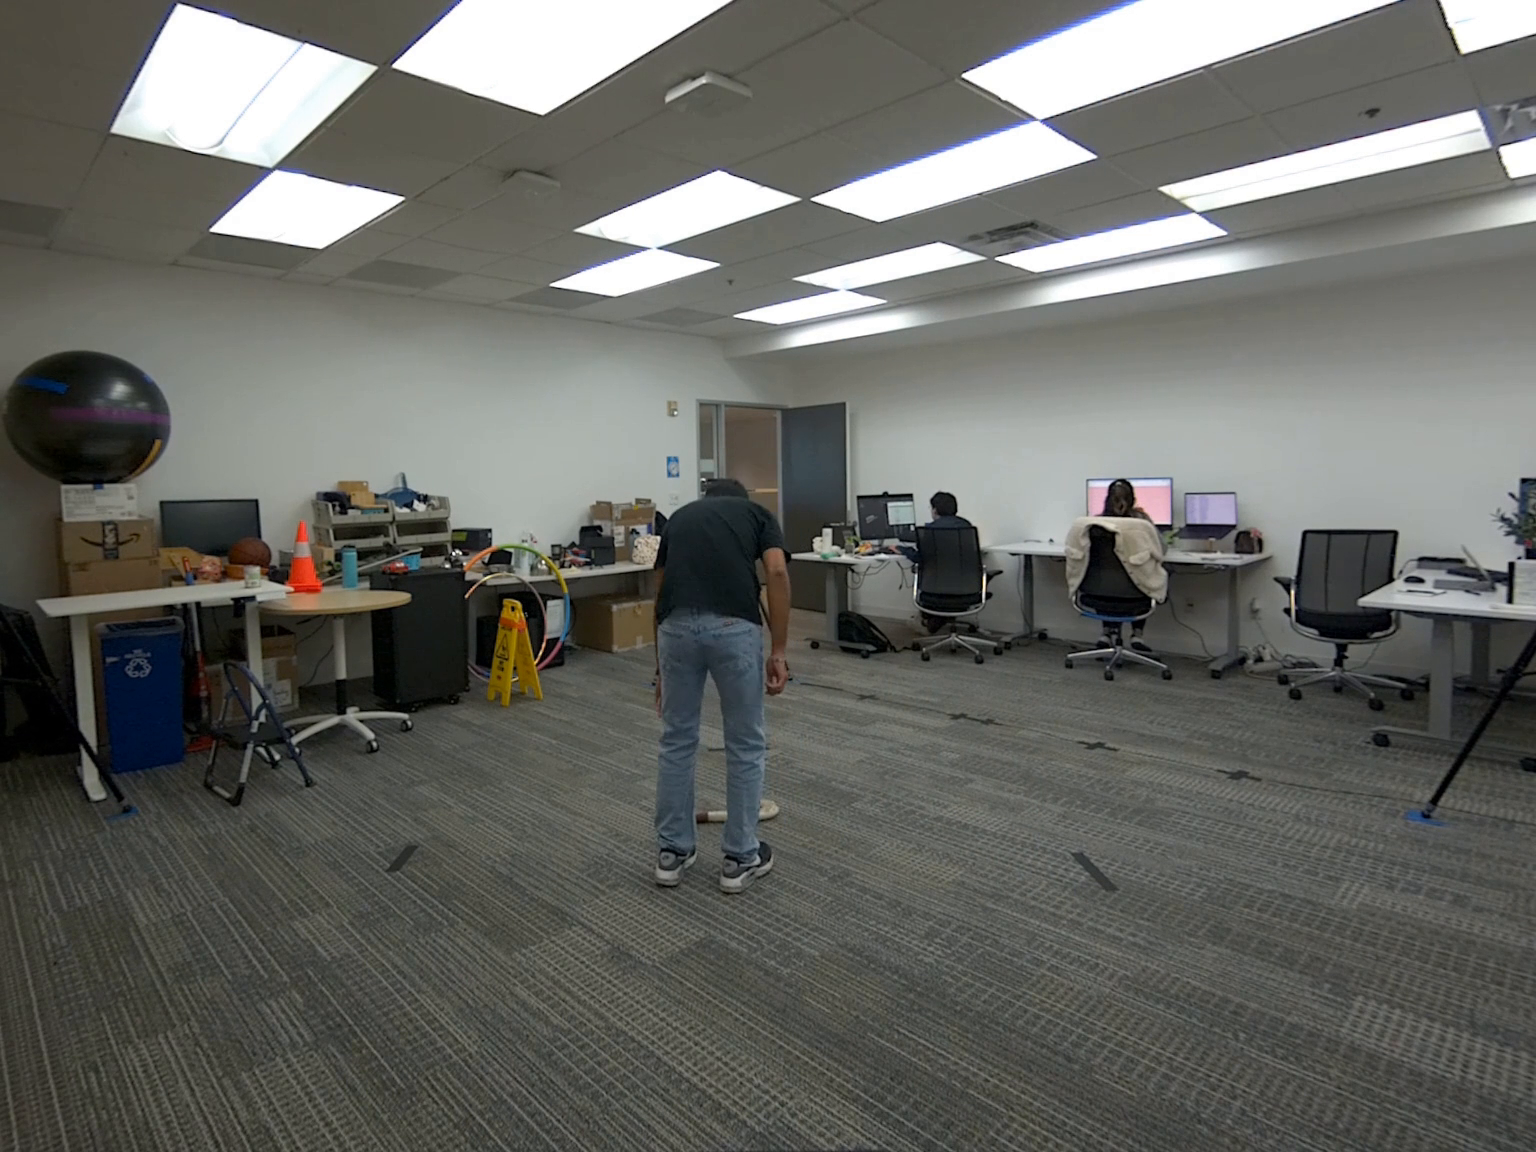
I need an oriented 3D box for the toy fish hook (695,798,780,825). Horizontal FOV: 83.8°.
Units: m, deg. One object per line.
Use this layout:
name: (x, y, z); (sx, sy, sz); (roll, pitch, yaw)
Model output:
toy fish hook: (-0.208, 0.982, 3.546); (0.500, 0.048, 0.227); (-2, -1, -13)
